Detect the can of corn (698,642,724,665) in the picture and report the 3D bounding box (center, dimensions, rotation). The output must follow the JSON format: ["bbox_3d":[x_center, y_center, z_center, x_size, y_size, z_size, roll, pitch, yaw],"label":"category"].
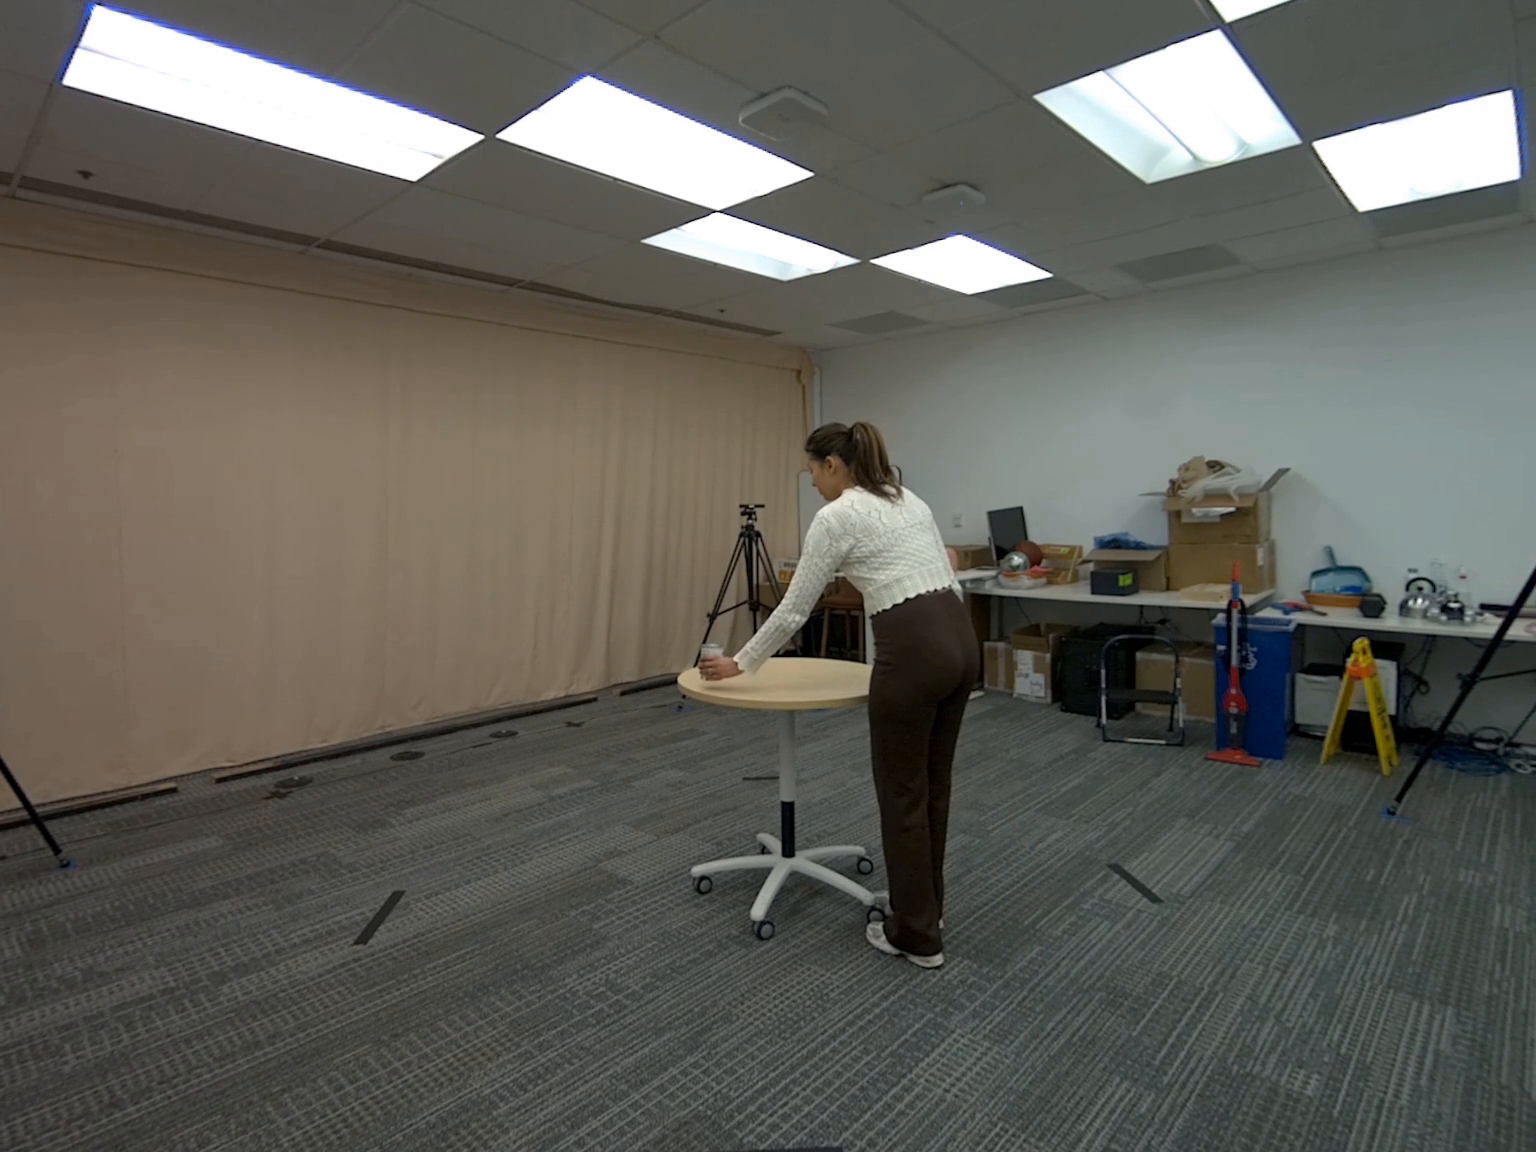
[{"bbox_3d":[-0.174,0.288,2.787,0.074,0.111,0.074,-1,3,-2],"label":"can of corn"}]
